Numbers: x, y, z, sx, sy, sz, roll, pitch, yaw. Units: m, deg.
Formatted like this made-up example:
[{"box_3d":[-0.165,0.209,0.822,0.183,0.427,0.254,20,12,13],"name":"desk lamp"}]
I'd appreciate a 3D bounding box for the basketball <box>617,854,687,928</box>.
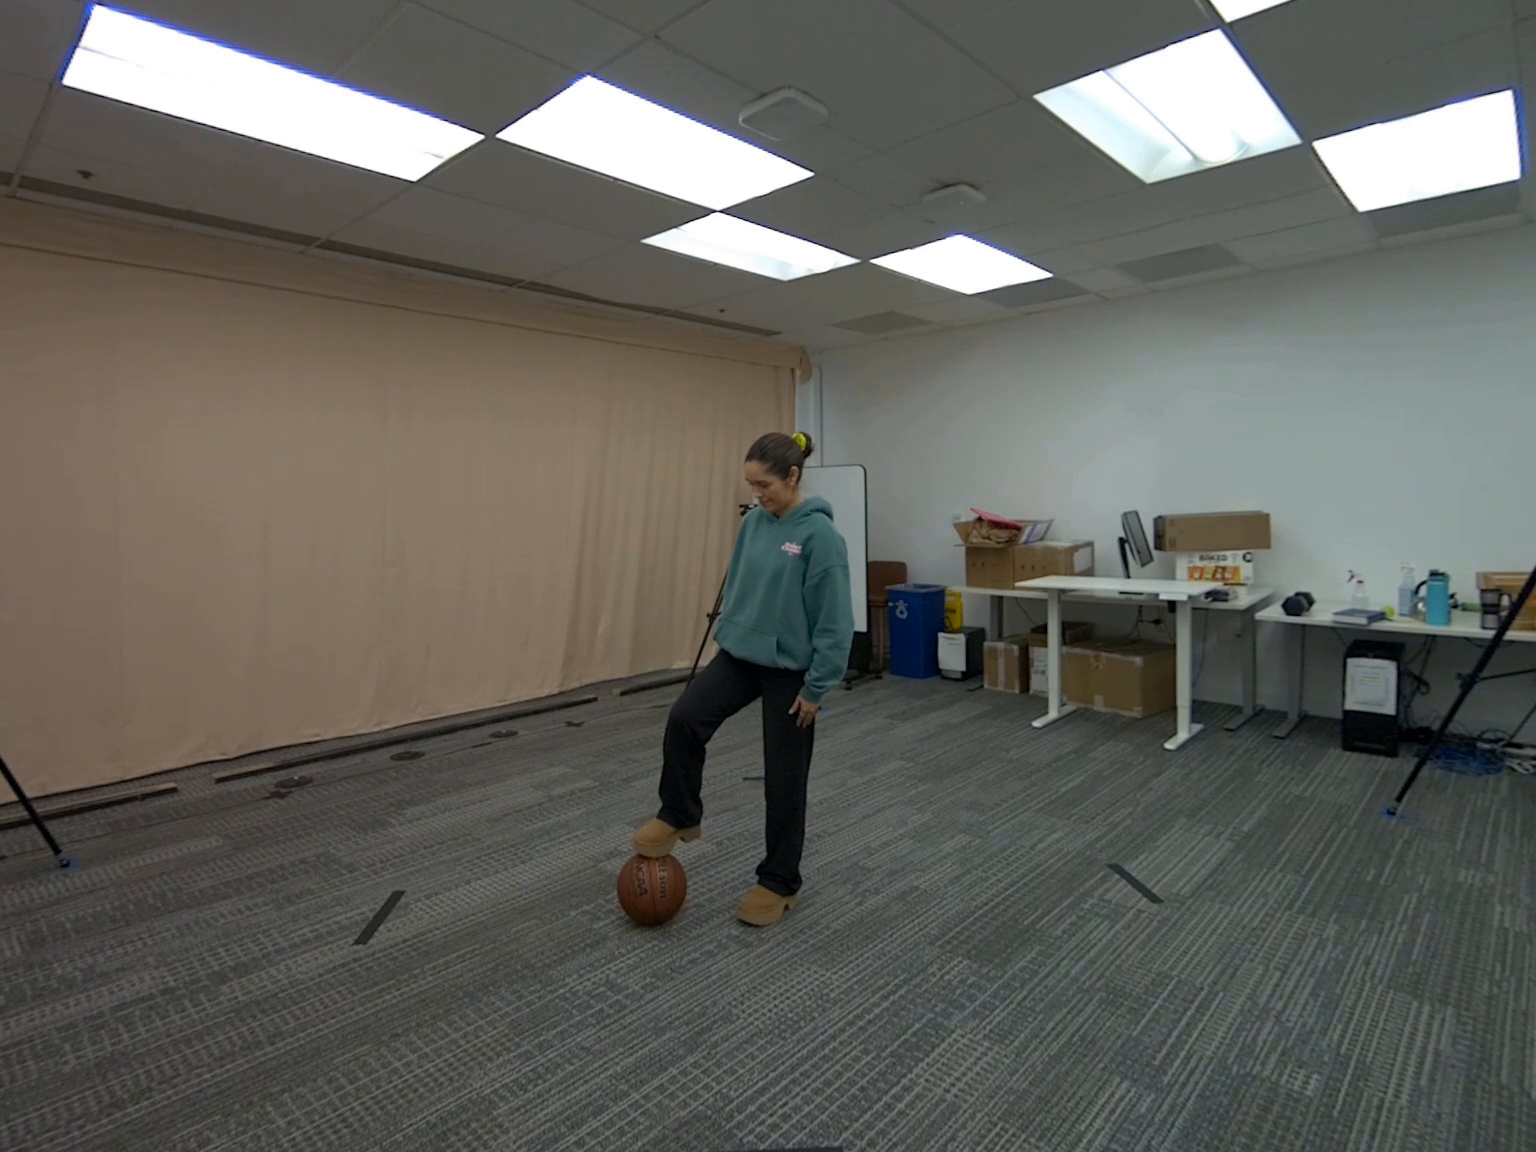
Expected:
[{"box_3d":[-0.384,1.046,2.829,0.236,0.235,0.237,-1,4,-2],"name":"basketball"}]
